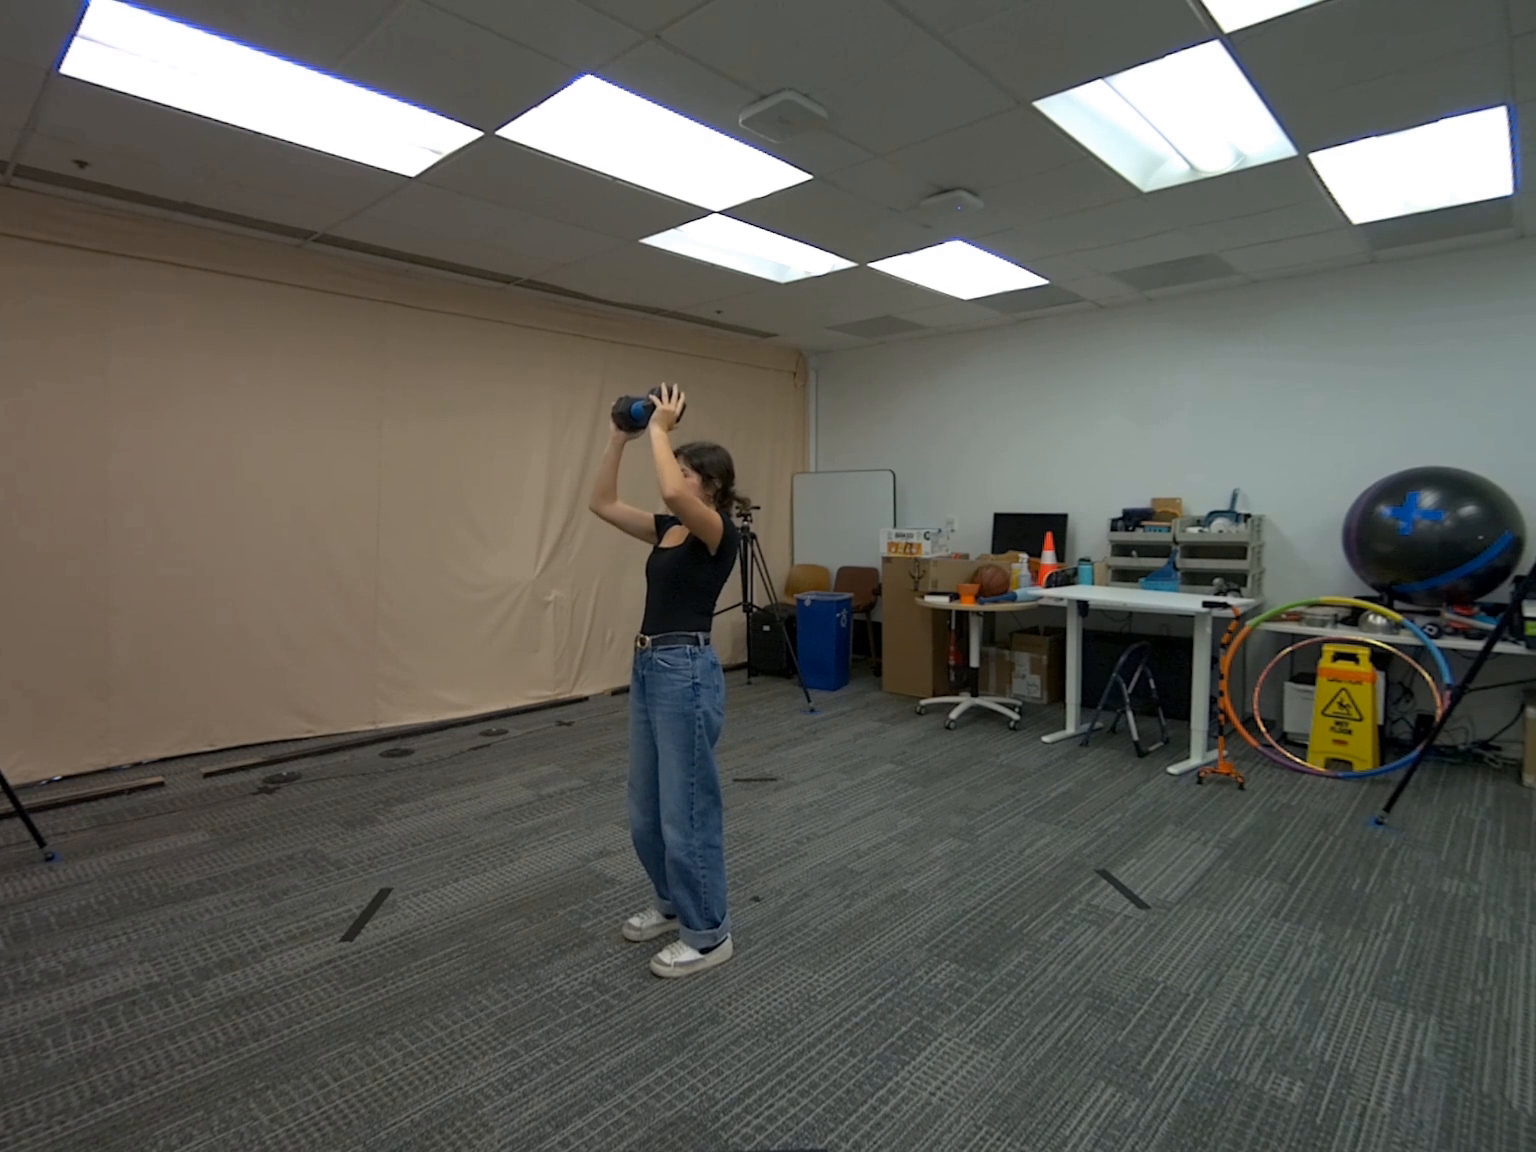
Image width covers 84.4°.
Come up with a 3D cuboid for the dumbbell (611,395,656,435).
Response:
[{"bbox_3d":[-0.369,-0.511,2.593,0.107,0.120,0.303,-39,23,-27],"label":"dumbbell"}]
